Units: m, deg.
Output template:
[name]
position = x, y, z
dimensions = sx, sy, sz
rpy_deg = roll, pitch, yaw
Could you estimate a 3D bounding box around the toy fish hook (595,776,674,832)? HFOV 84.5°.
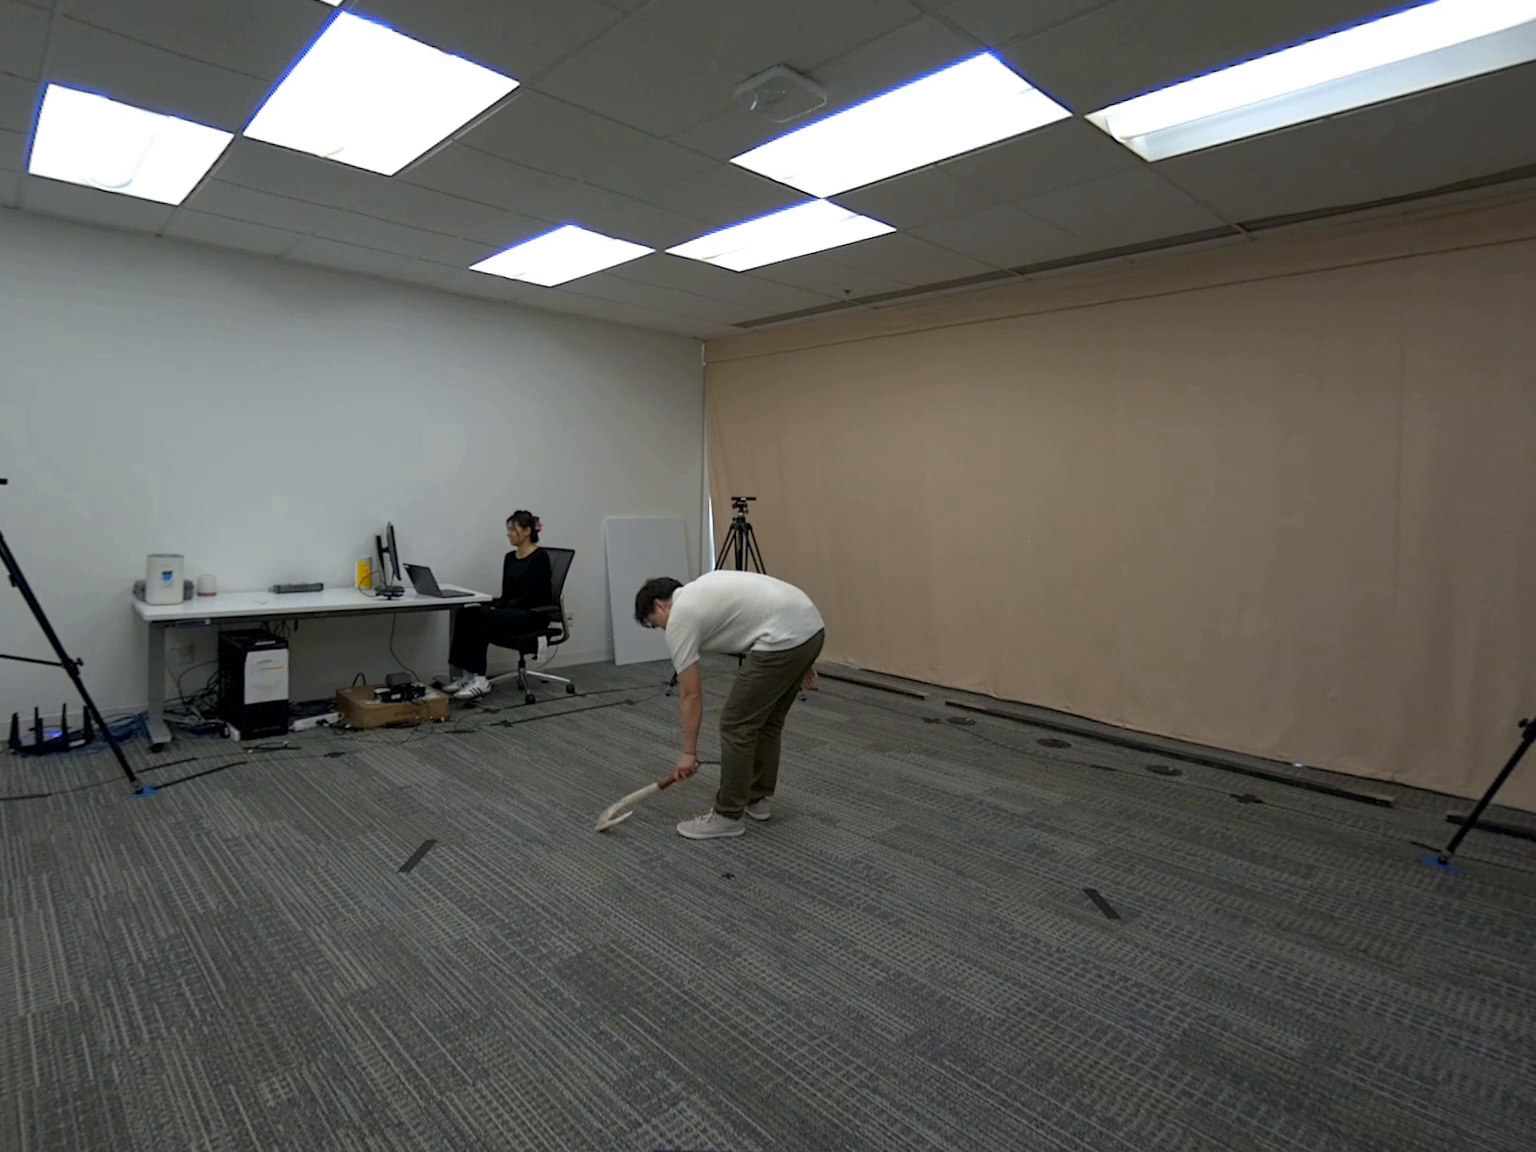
[toy fish hook]
position = -0.506, 0.917, 3.508
dimensions = 0.507, 0.048, 0.226
rpy_deg = -31, 9, 6
